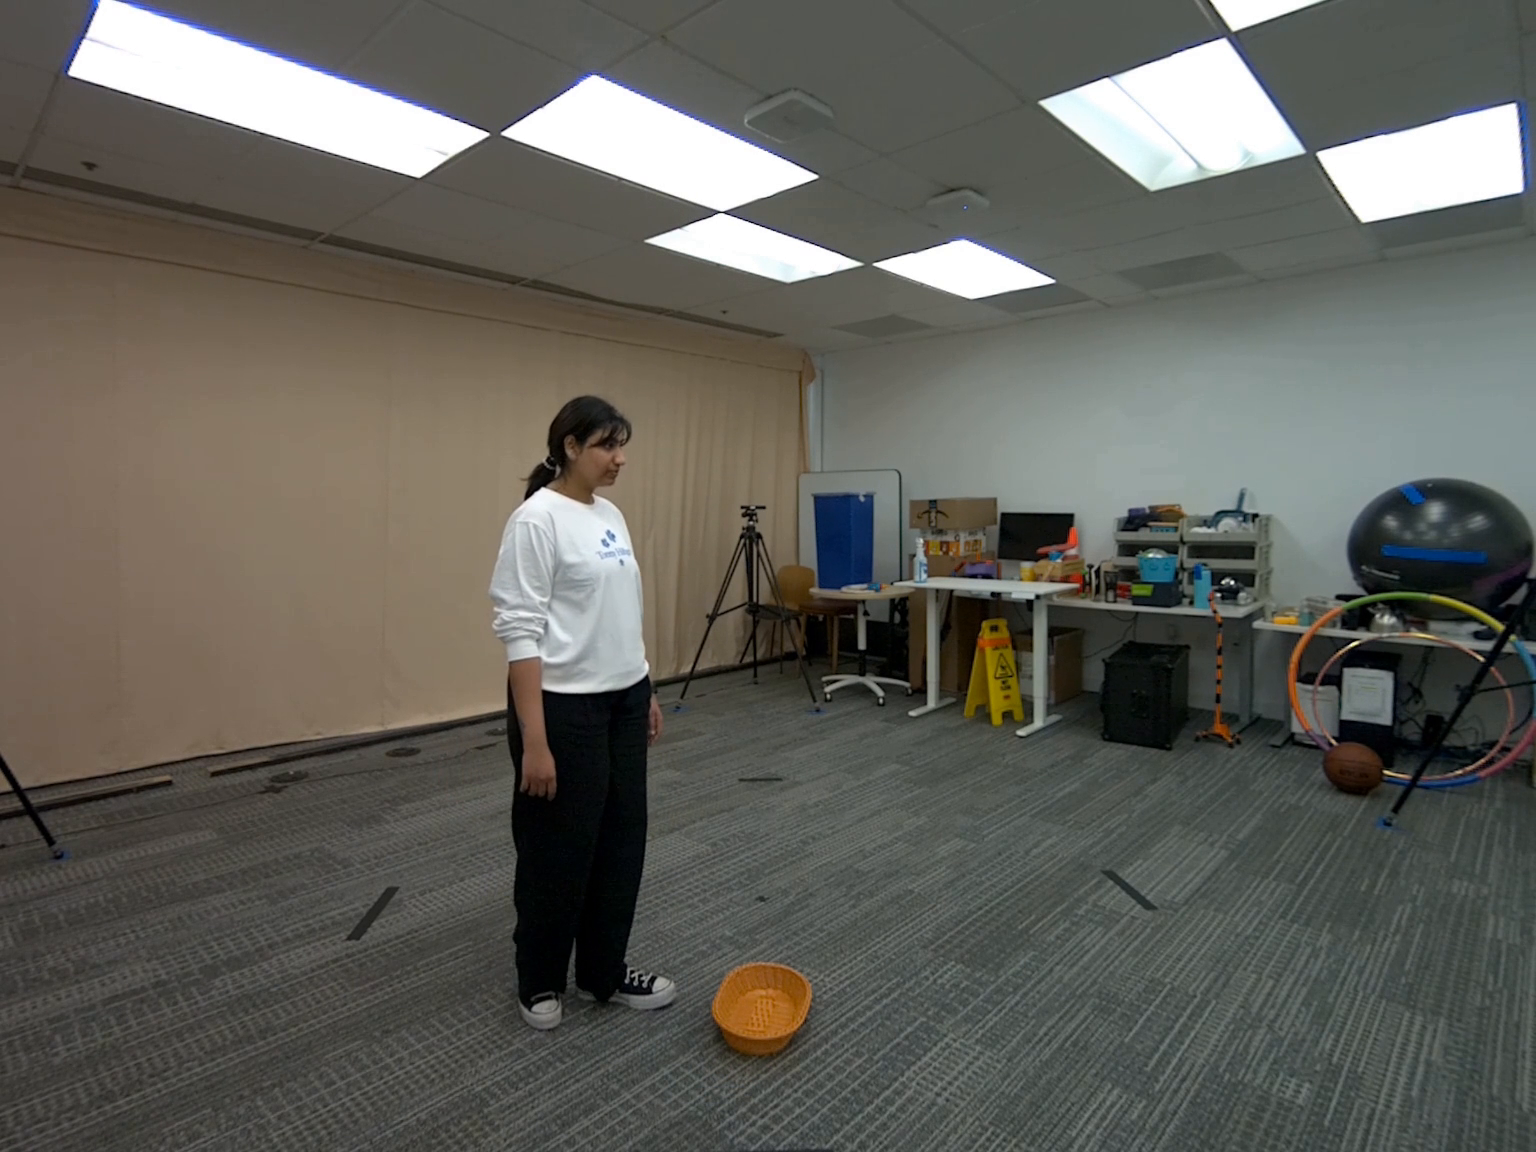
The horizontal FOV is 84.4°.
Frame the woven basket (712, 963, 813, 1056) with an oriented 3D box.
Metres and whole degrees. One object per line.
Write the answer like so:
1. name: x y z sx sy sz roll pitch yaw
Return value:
1. woven basket: -0.005 1.168 2.259 0.256 0.073 0.346 2 5 13
